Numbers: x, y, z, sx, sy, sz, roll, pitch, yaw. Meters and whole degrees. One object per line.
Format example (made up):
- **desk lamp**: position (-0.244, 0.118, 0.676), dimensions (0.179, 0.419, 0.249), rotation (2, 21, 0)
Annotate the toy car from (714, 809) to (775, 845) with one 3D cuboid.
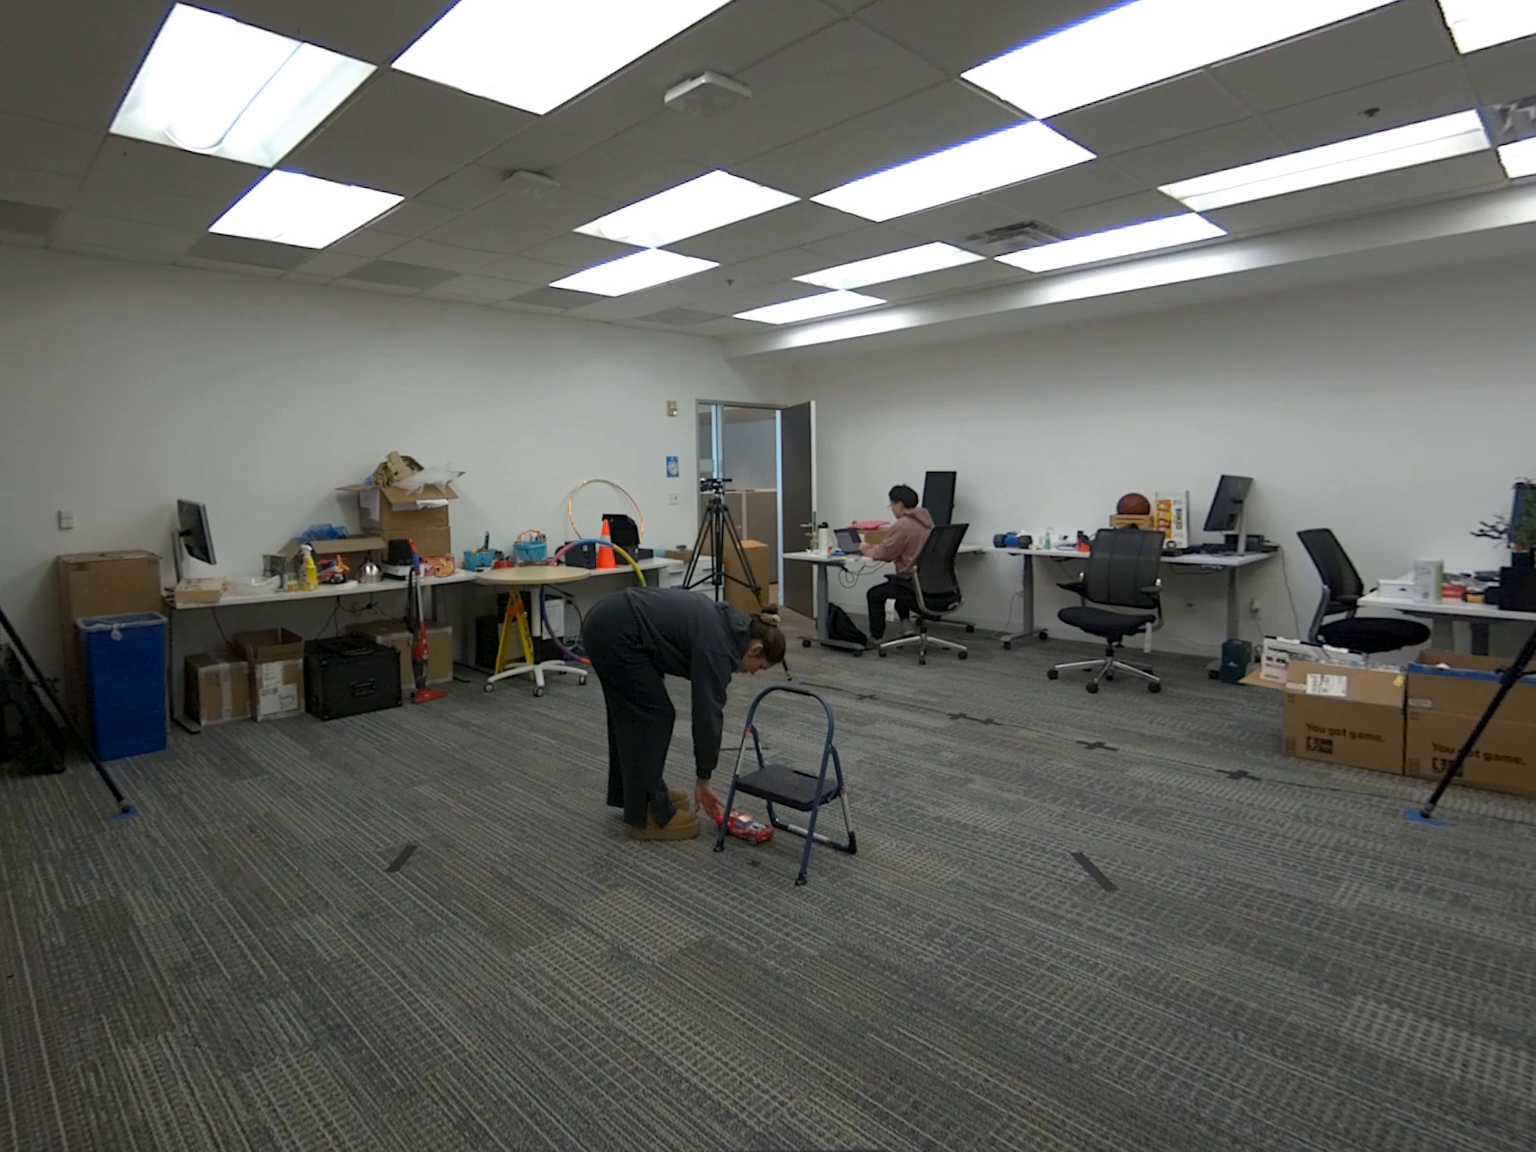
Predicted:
- **toy car**: position (-0.094, 0.989, 3.340), dimensions (0.264, 0.082, 0.127), rotation (18, 15, 39)
